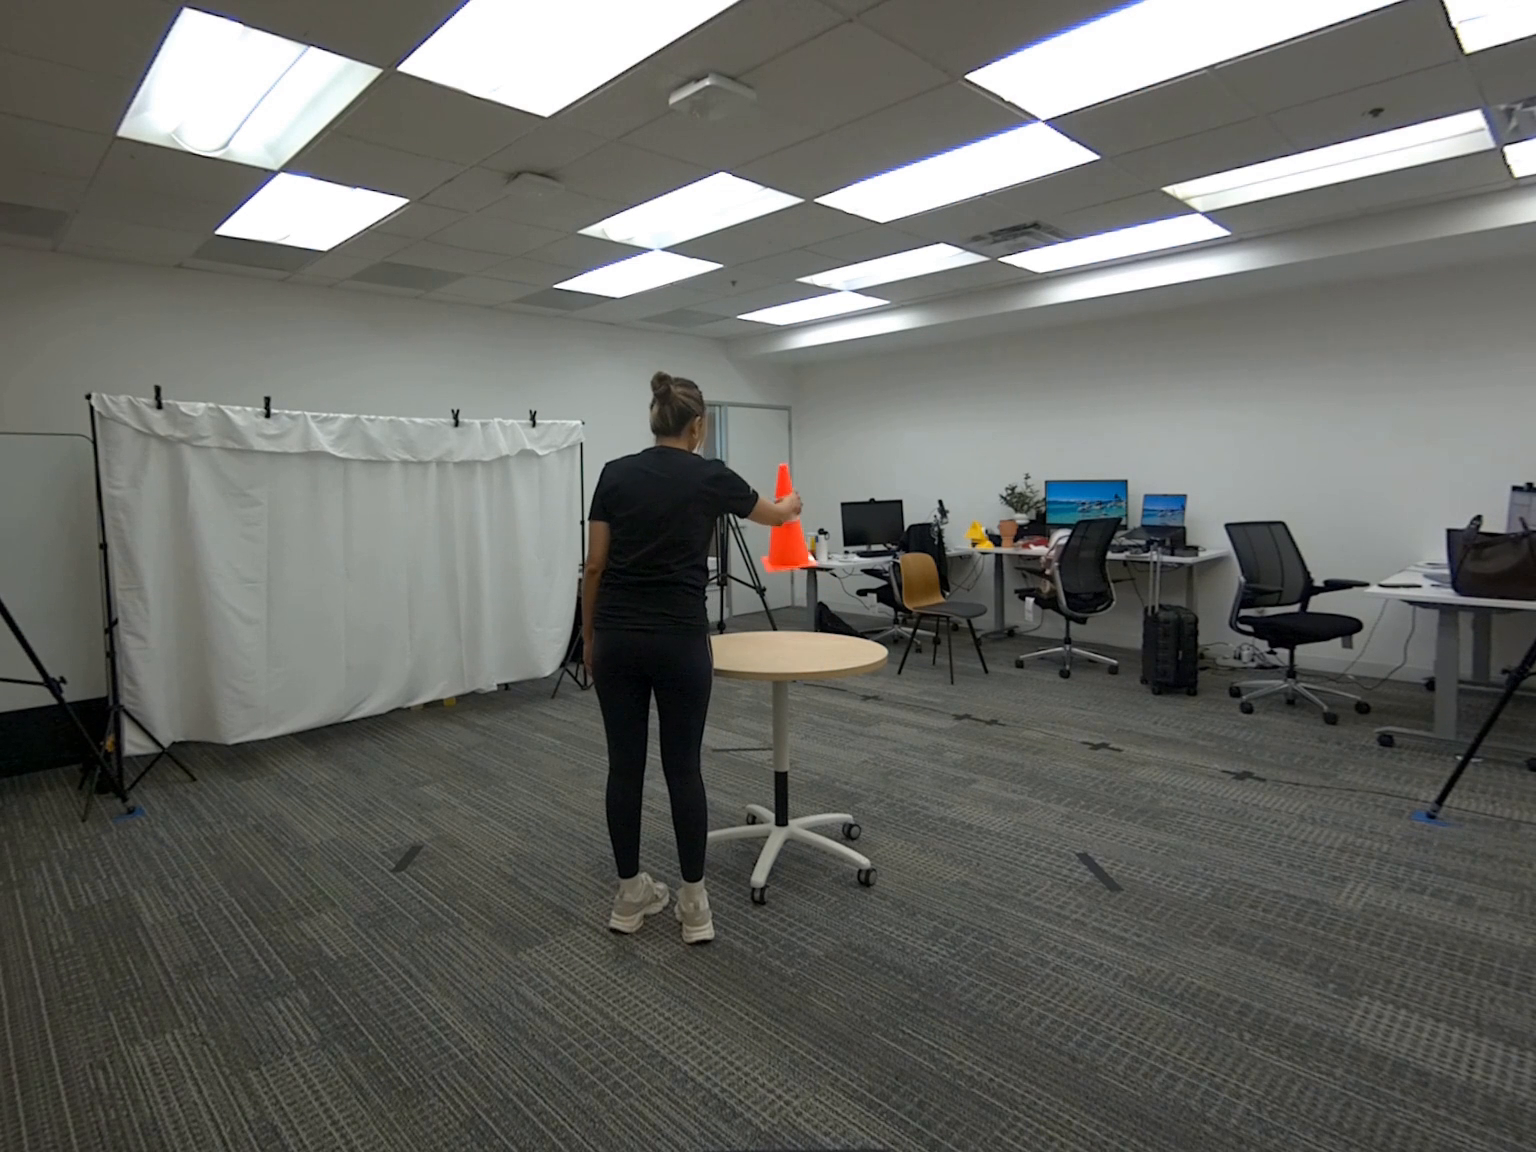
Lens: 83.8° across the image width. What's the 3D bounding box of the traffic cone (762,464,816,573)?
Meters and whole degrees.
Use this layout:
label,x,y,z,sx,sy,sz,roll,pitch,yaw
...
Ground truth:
label,x,y,z,sx,sy,sz,roll,pitch,yaw
traffic cone,0.069,-0.232,3.247,0.201,0.378,0.210,-9,17,-11
